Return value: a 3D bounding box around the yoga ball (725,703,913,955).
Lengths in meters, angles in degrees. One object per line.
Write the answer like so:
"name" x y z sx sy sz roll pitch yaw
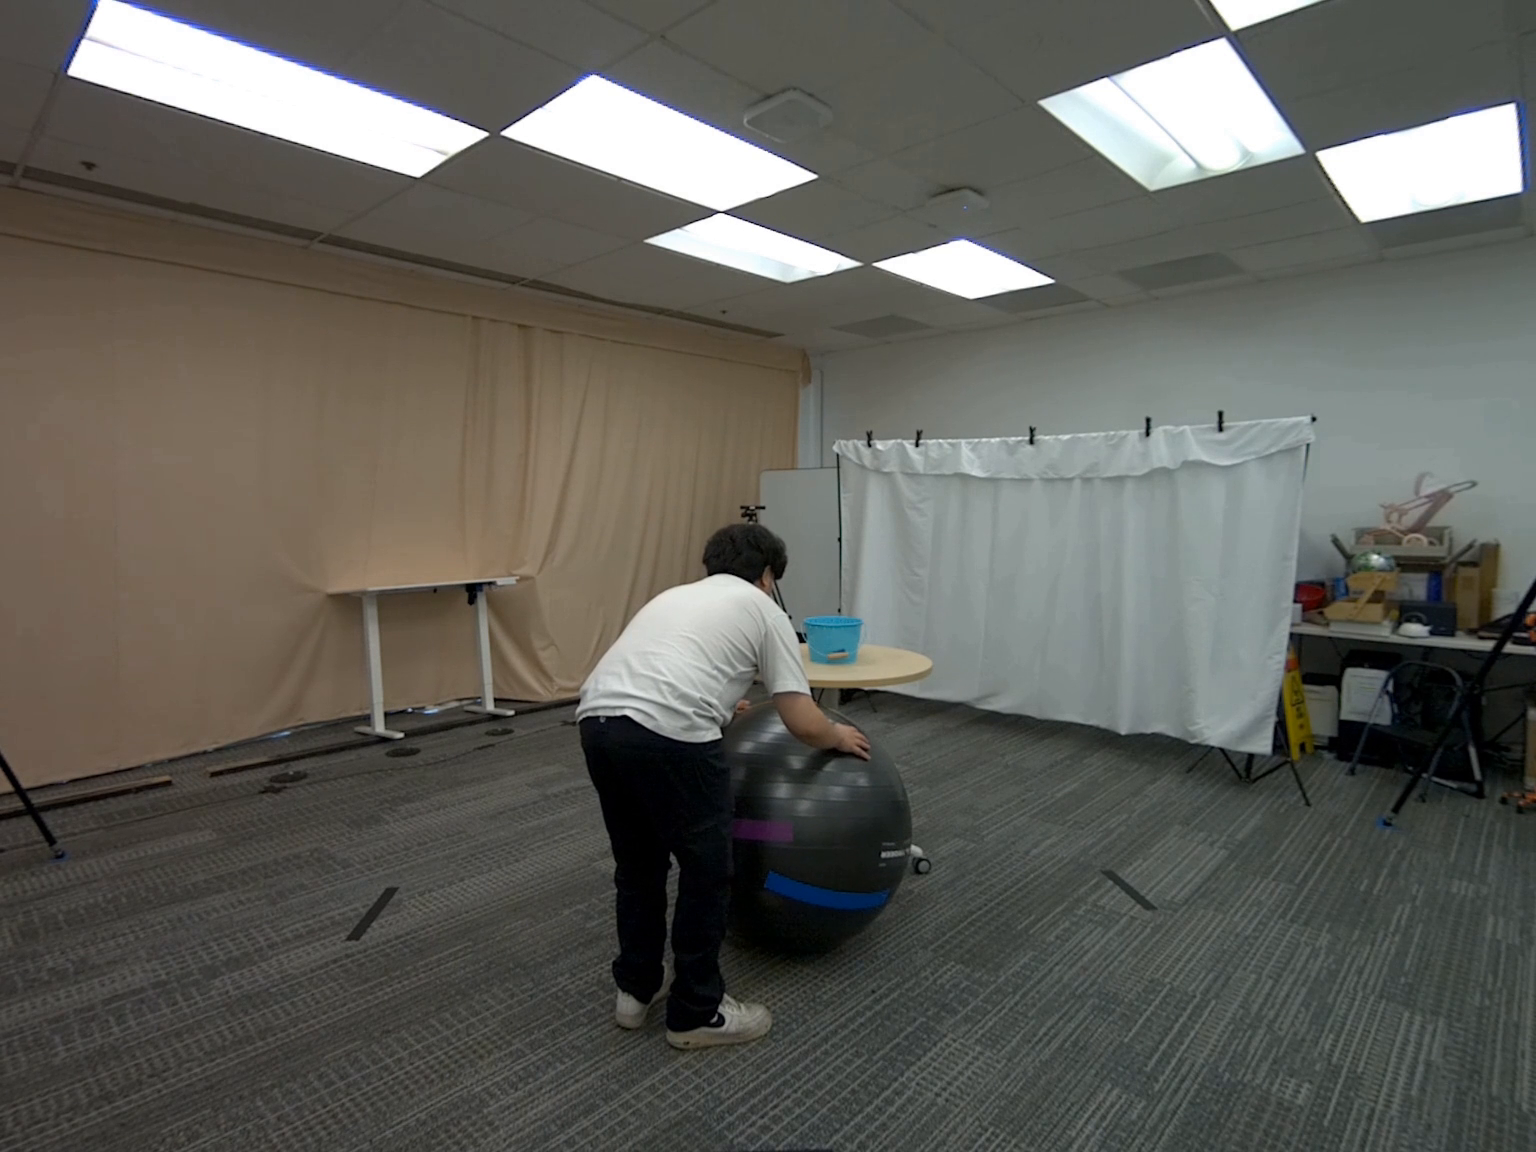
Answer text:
"yoga ball" 0.077 0.798 2.713 0.757 0.756 0.760 0 4 -2
